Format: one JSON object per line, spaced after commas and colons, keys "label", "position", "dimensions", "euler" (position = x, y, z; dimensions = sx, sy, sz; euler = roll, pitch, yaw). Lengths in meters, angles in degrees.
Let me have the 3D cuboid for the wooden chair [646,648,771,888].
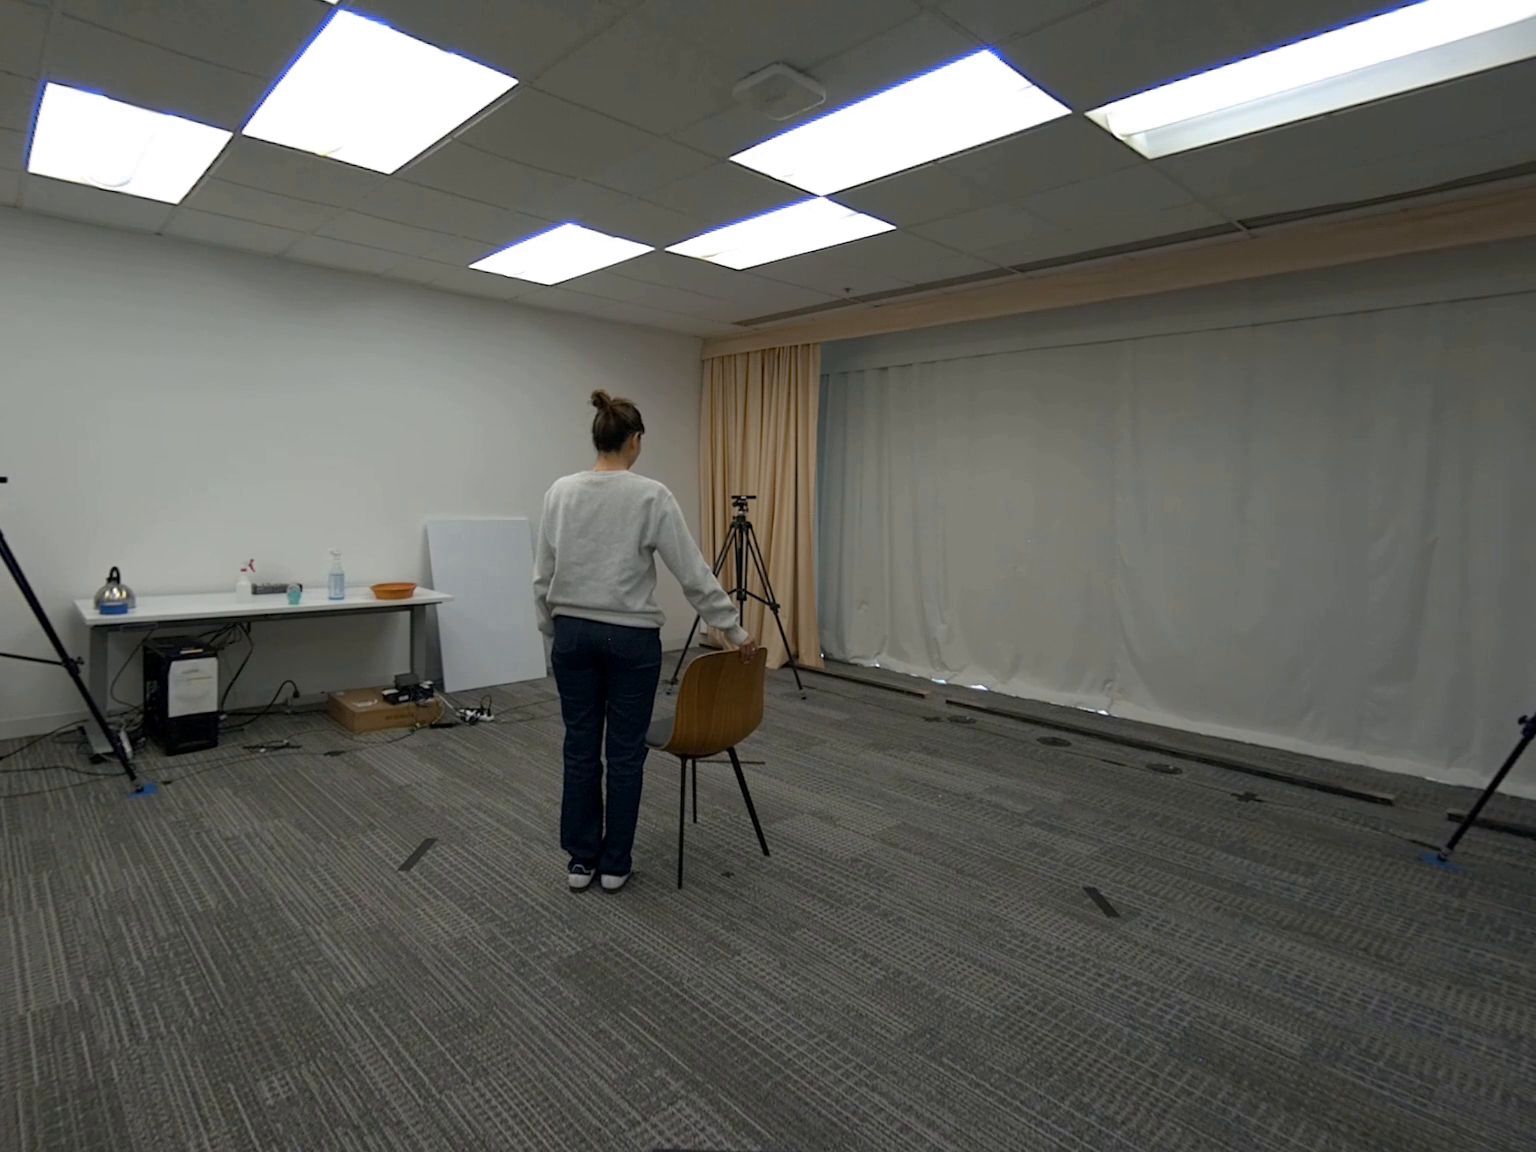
{"label": "wooden chair", "position": [-0.307, 0.658, 3.267], "dimensions": [0.467, 0.873, 0.538], "euler": [-3, 10, -43]}
